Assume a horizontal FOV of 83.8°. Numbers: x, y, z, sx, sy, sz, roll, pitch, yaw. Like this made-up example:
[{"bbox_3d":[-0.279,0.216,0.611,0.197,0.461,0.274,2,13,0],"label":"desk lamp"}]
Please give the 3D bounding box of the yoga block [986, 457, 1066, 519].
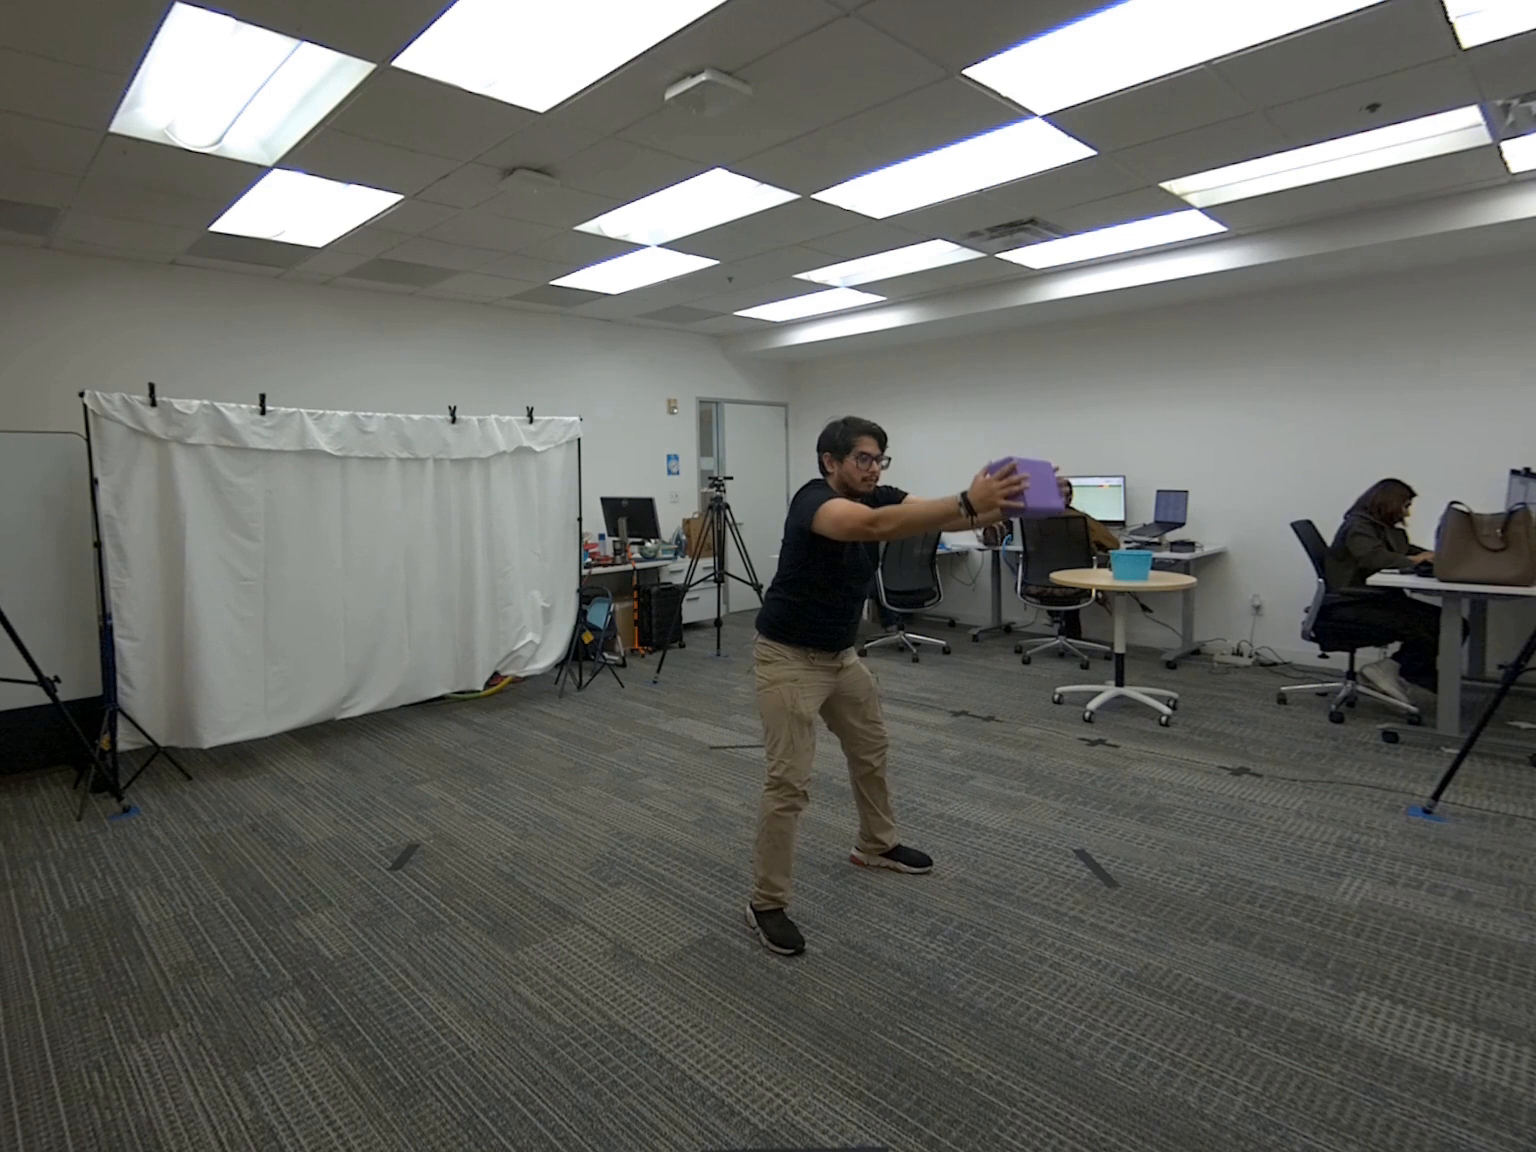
[{"bbox_3d":[0.674,-0.228,2.252,0.078,0.151,0.223,-21,-12,37],"label":"yoga block"}]
